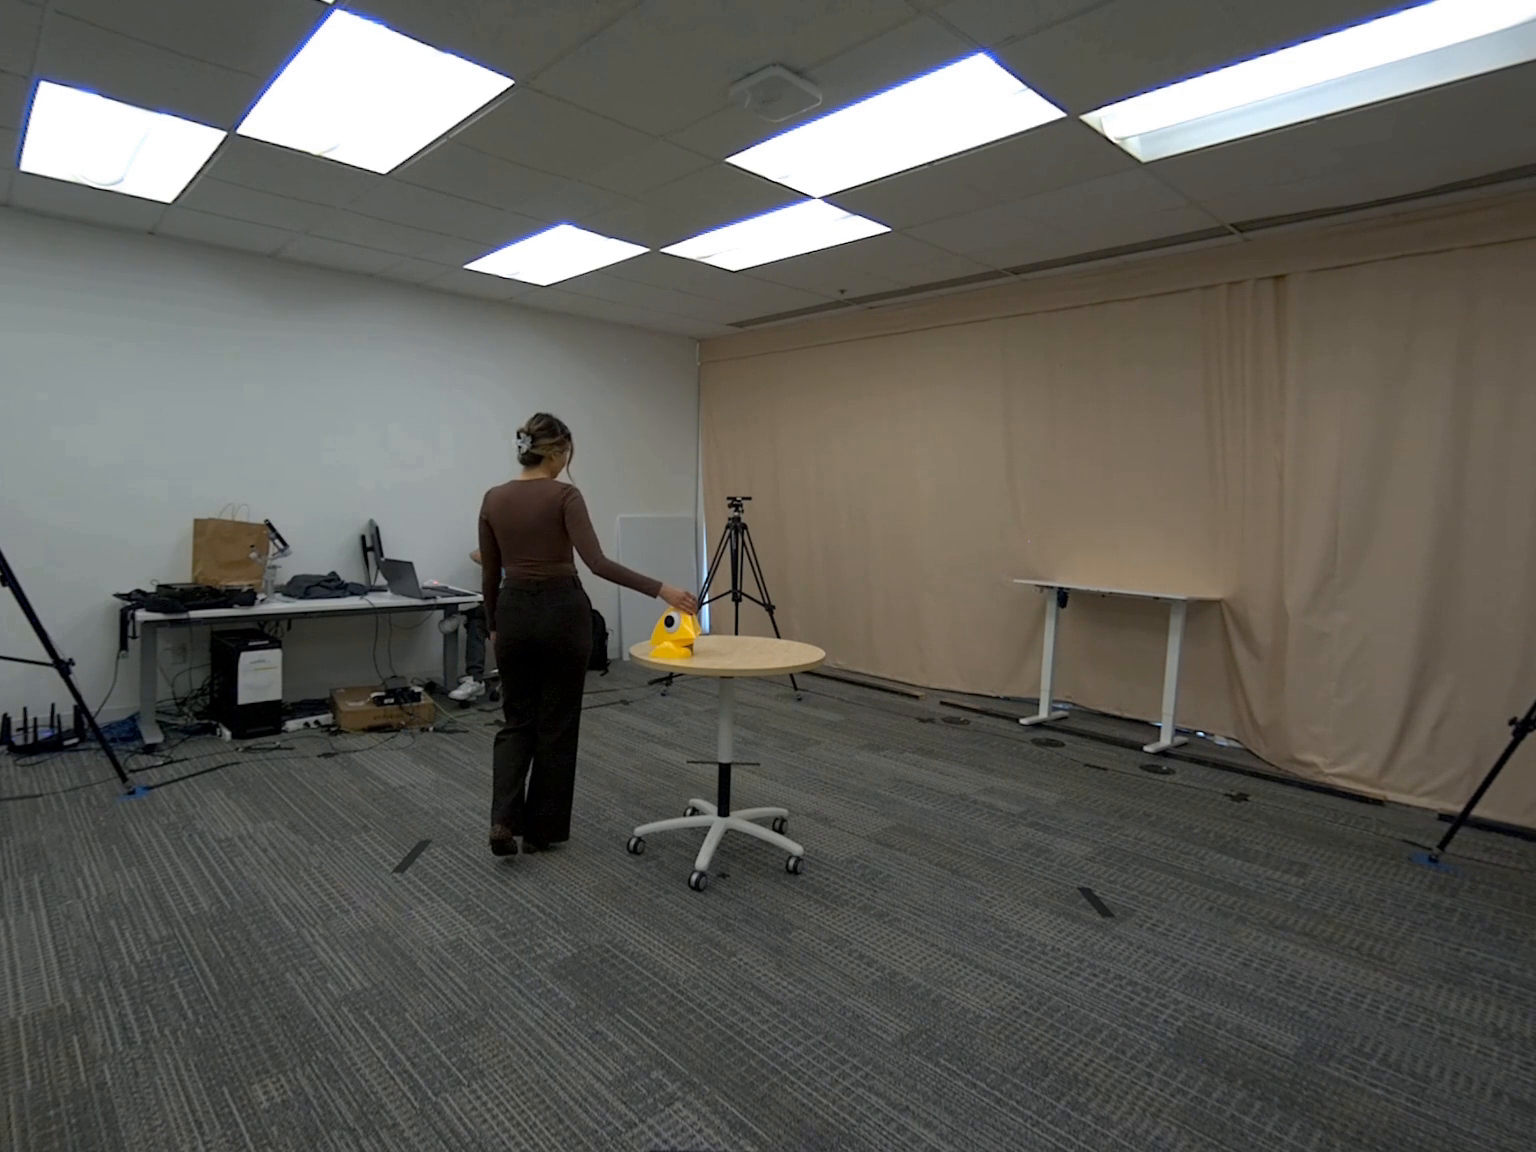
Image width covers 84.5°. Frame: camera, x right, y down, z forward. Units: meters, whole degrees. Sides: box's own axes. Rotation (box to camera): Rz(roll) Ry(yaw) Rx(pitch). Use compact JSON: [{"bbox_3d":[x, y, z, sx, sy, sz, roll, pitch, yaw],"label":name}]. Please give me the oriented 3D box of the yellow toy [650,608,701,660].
[{"bbox_3d":[-0.361,0.182,3.190,0.194,0.230,0.204,2,4,4],"label":"yellow toy"}]
